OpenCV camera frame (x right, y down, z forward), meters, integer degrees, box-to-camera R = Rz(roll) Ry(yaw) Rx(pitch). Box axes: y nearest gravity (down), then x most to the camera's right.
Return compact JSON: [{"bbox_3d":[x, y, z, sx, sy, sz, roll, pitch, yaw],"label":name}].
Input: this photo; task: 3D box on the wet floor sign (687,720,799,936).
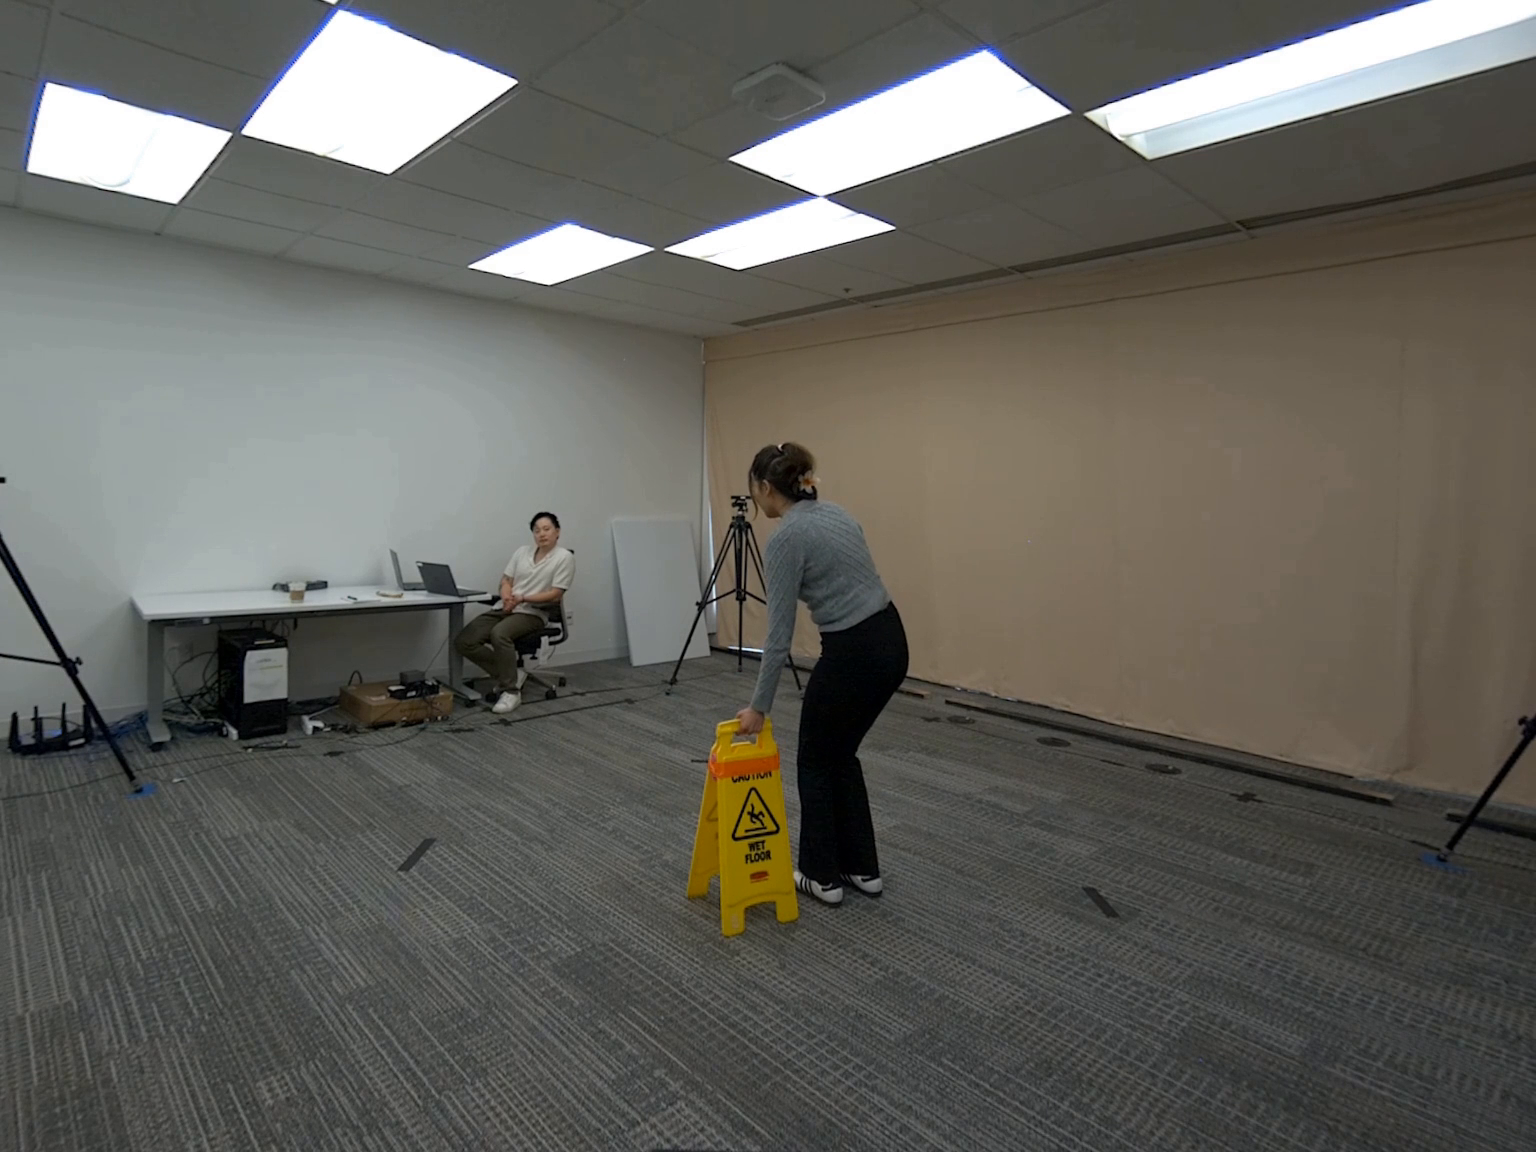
[{"bbox_3d":[-0.091,0.803,2.832,0.277,0.645,0.296,0,3,-29],"label":"wet floor sign"}]
